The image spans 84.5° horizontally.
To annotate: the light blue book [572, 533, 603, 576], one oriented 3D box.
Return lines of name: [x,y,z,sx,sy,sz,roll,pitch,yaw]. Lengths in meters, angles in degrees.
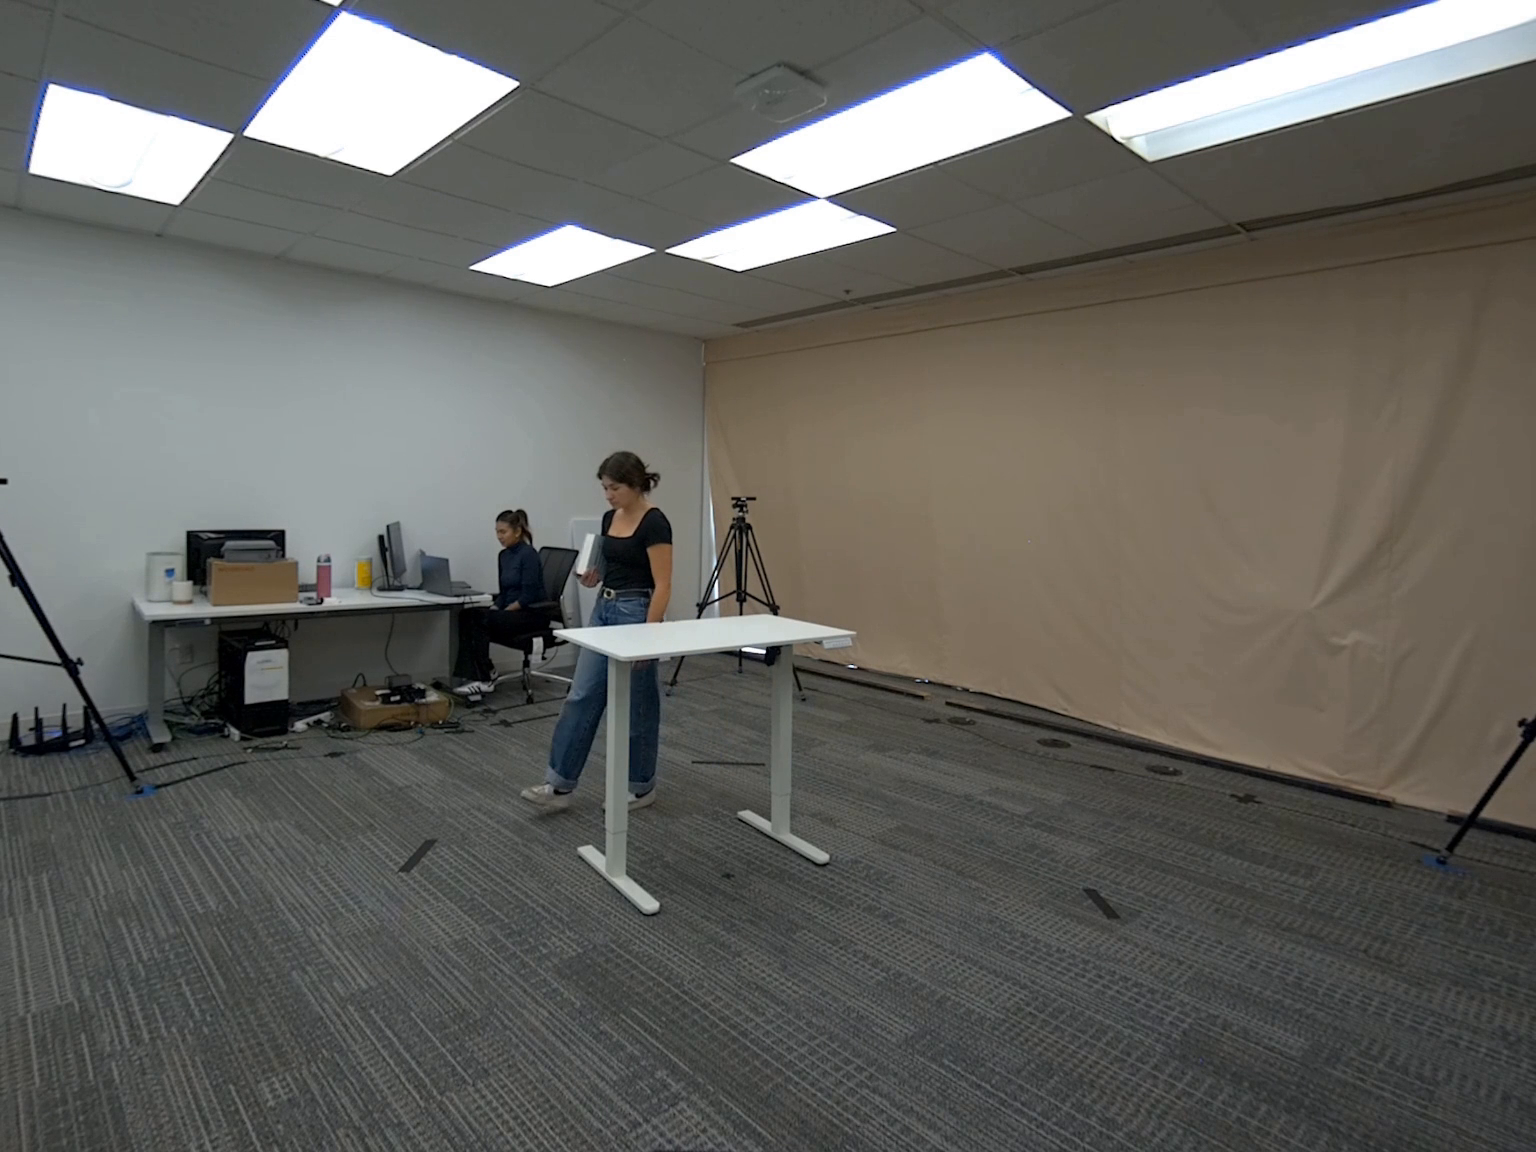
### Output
light blue book: [-0.742,-0.070,3.776,0.060,0.192,0.253,11,-7,35]
